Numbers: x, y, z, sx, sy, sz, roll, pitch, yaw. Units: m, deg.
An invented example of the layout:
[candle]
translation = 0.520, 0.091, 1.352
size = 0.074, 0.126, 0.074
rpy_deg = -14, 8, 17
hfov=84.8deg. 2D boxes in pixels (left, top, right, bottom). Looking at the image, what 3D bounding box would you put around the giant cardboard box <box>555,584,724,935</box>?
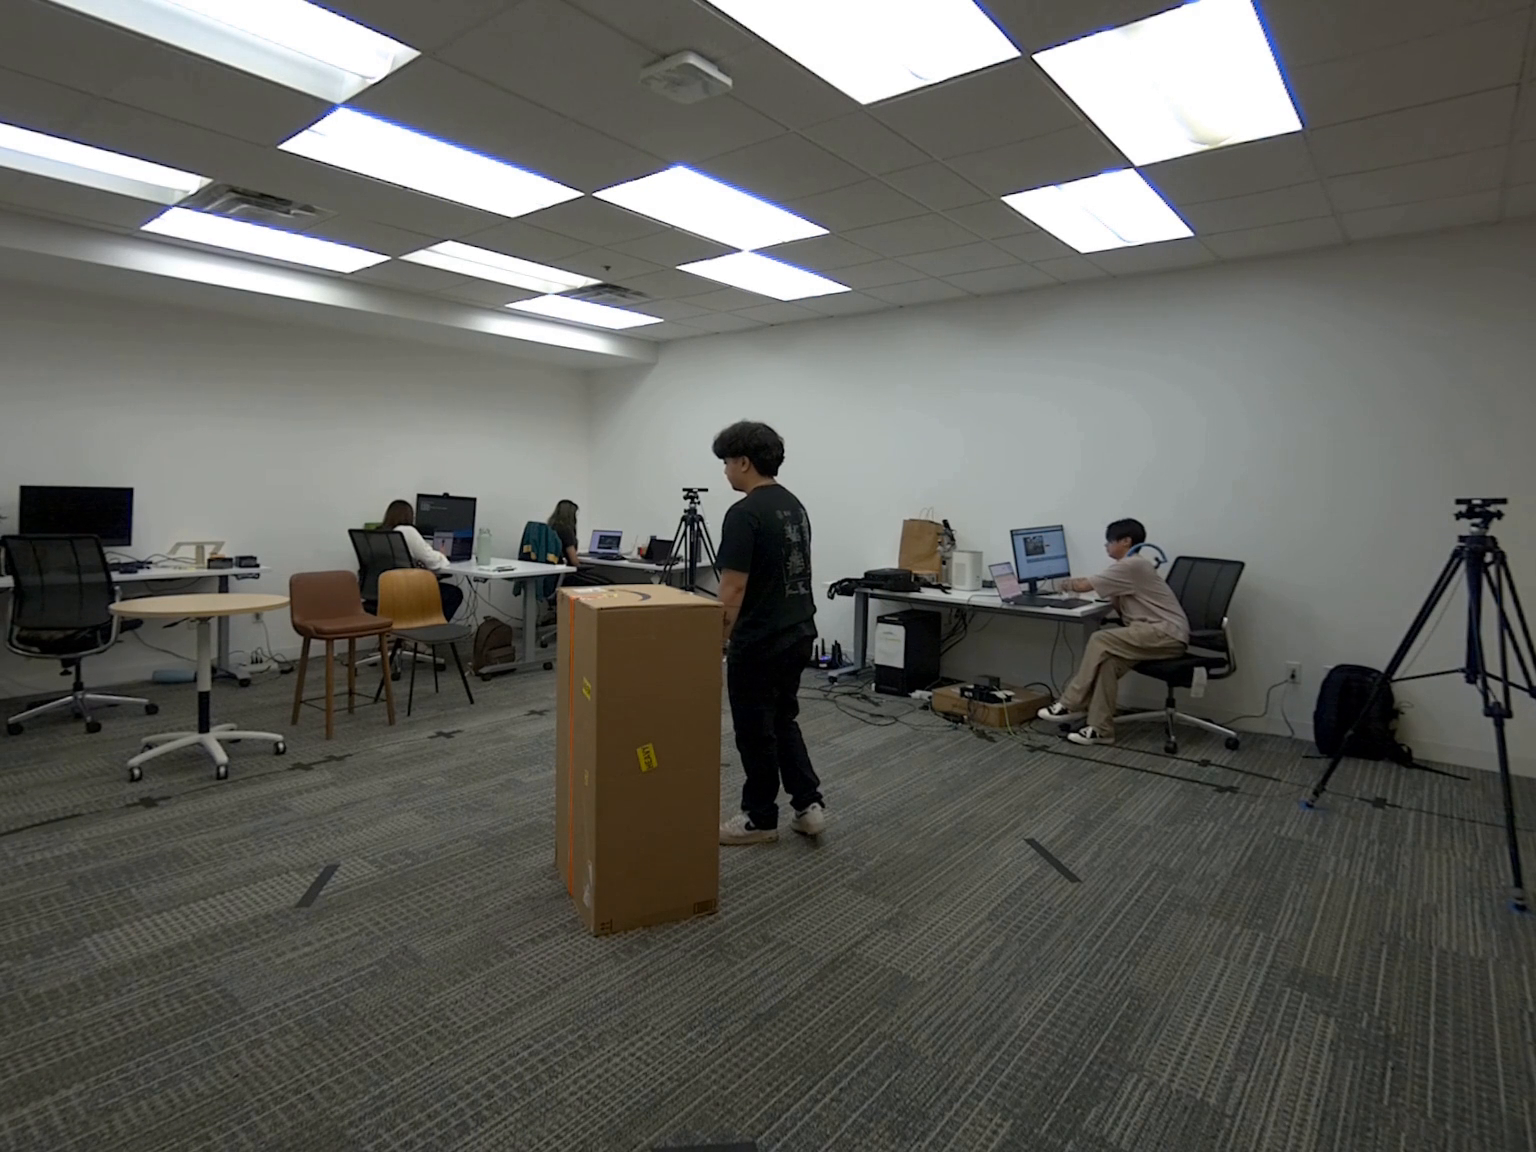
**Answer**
[giant cardboard box]
translation = -0.478, 0.569, 2.936
size = 0.436, 1.024, 0.599
rpy_deg = -1, 4, -25
